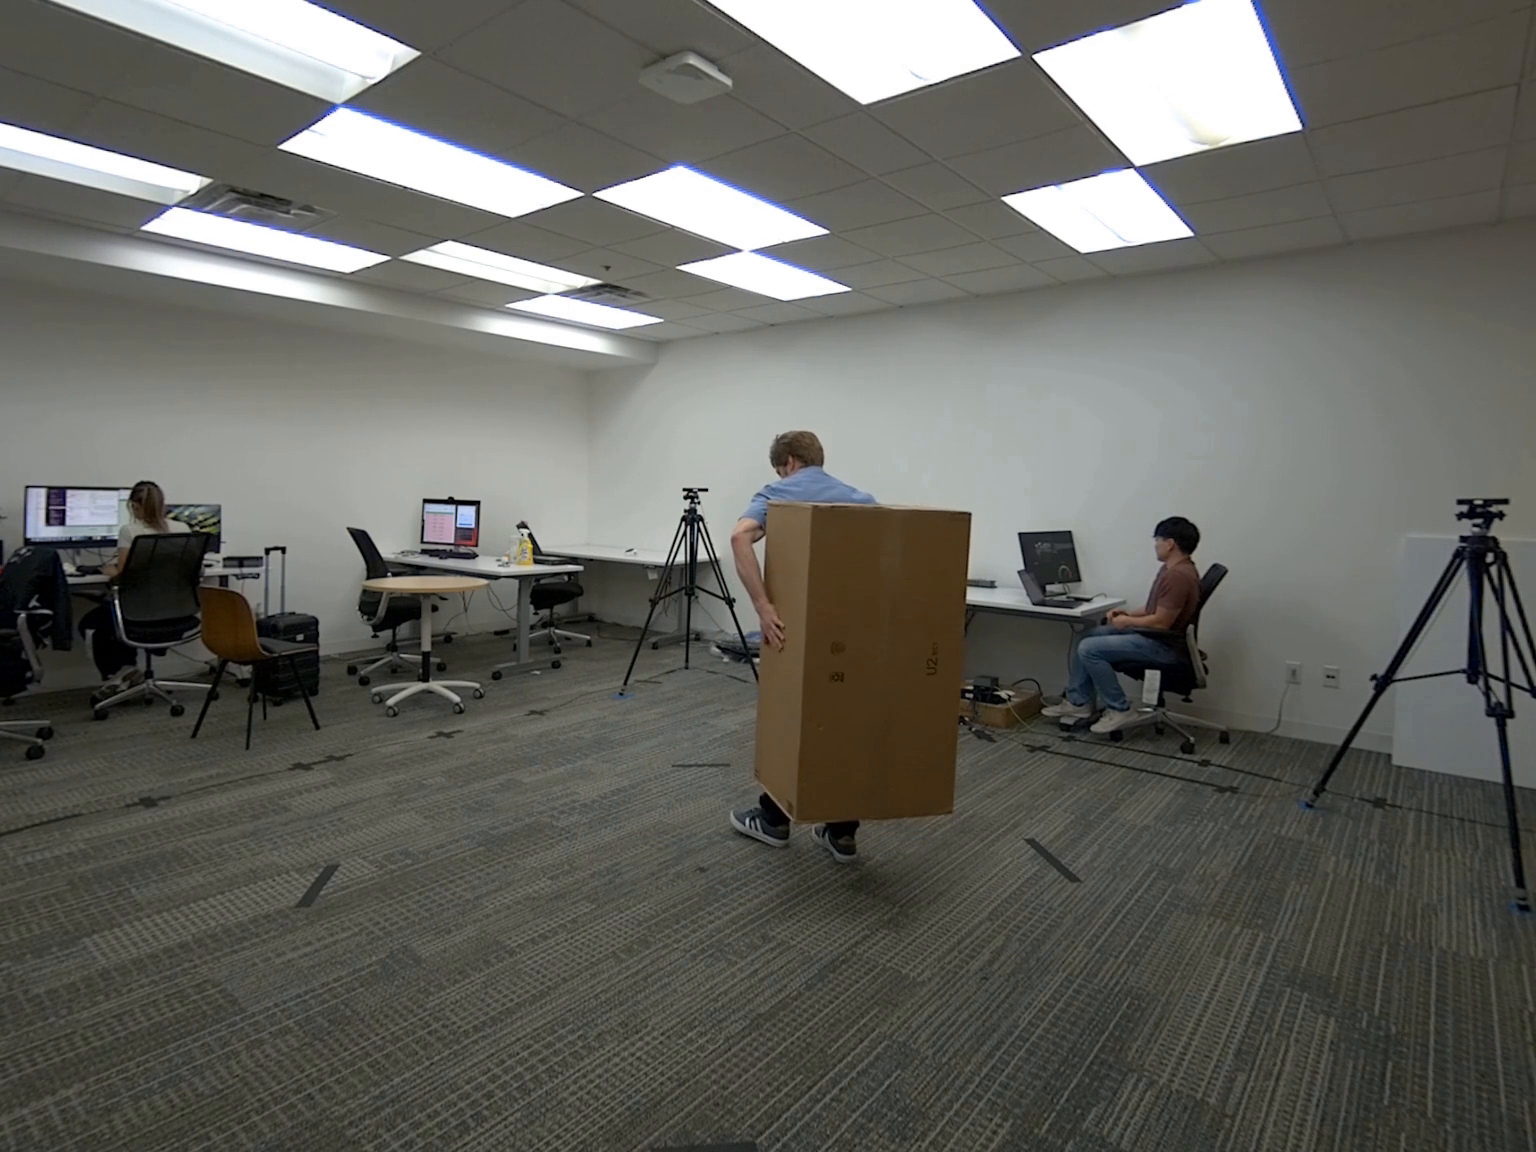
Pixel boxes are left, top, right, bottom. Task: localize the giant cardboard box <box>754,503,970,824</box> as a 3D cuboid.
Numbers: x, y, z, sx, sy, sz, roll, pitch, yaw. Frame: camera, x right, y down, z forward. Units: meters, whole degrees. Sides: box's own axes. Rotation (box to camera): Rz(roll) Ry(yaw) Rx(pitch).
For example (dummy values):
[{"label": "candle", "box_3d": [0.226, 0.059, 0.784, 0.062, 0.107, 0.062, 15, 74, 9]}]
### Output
[{"label": "giant cardboard box", "box_3d": [0.300, 0.269, 2.939, 0.573, 1.023, 0.457, 2, 5, -18]}]
